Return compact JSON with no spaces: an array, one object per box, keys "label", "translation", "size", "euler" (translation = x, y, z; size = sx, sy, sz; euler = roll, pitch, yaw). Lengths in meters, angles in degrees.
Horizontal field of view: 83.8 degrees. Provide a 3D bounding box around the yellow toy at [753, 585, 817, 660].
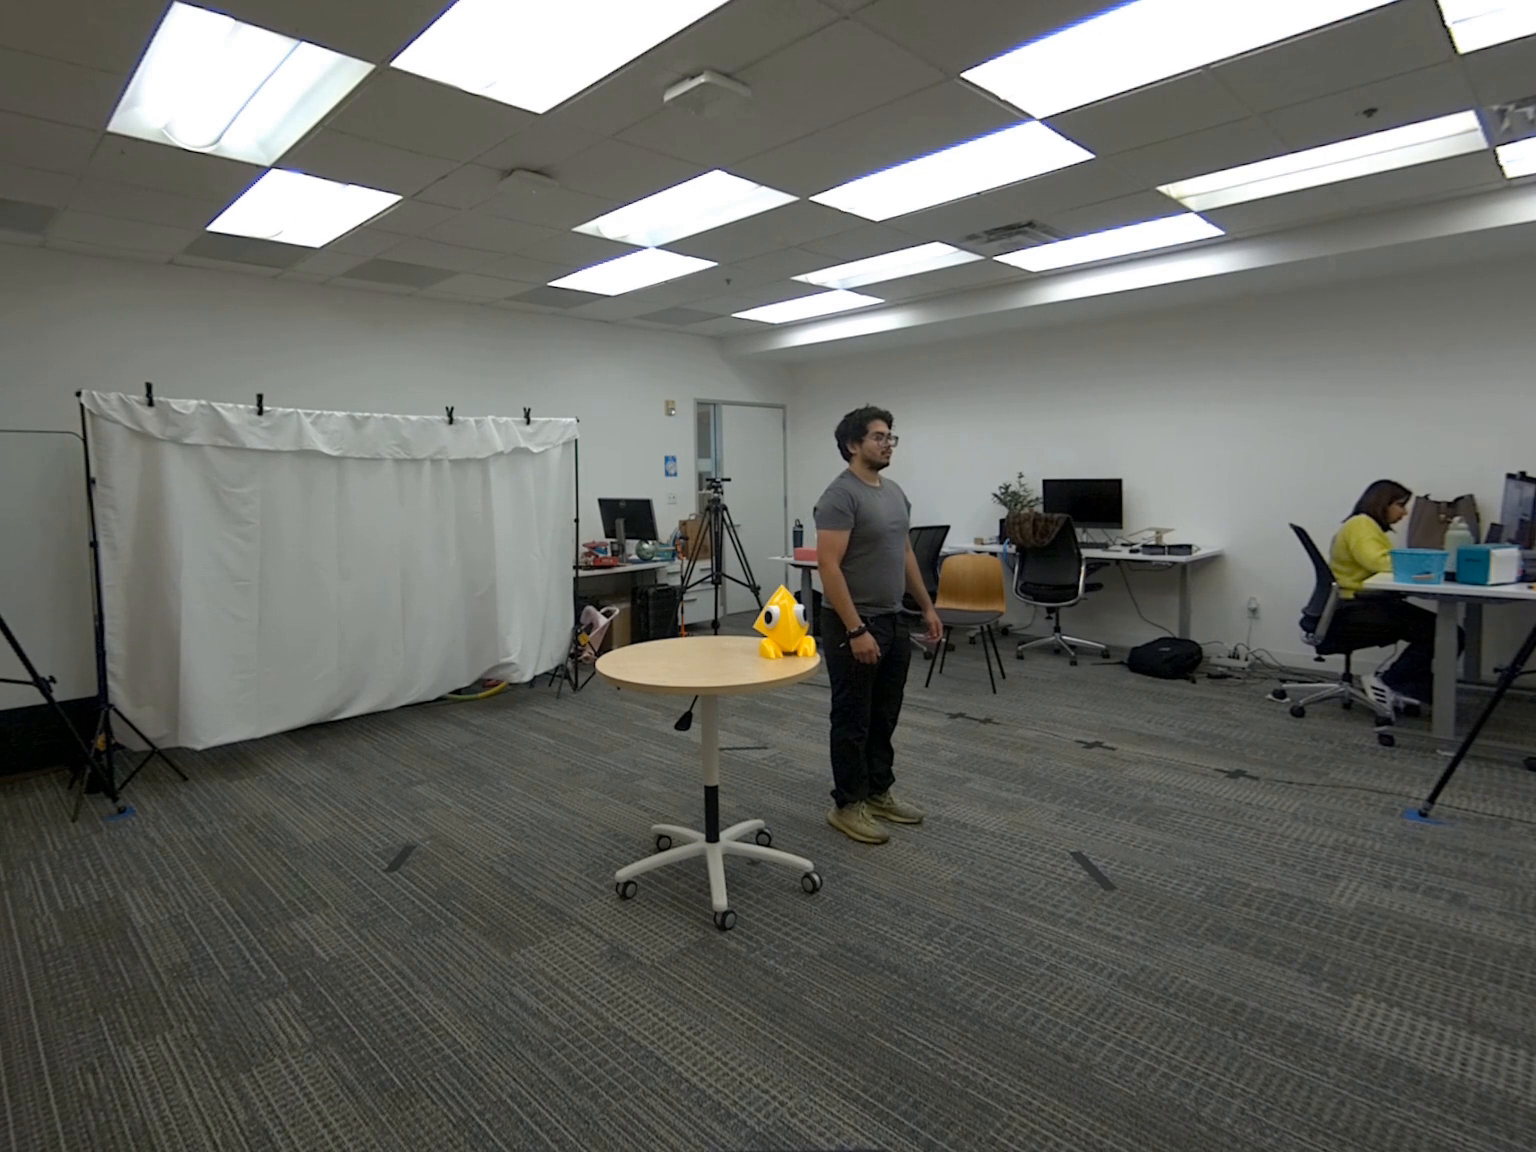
[{"label":"yellow toy","translation":[0.066,0.155,2.973],"size":[0.203,0.230,0.195],"euler":[-2,5,-8]}]
